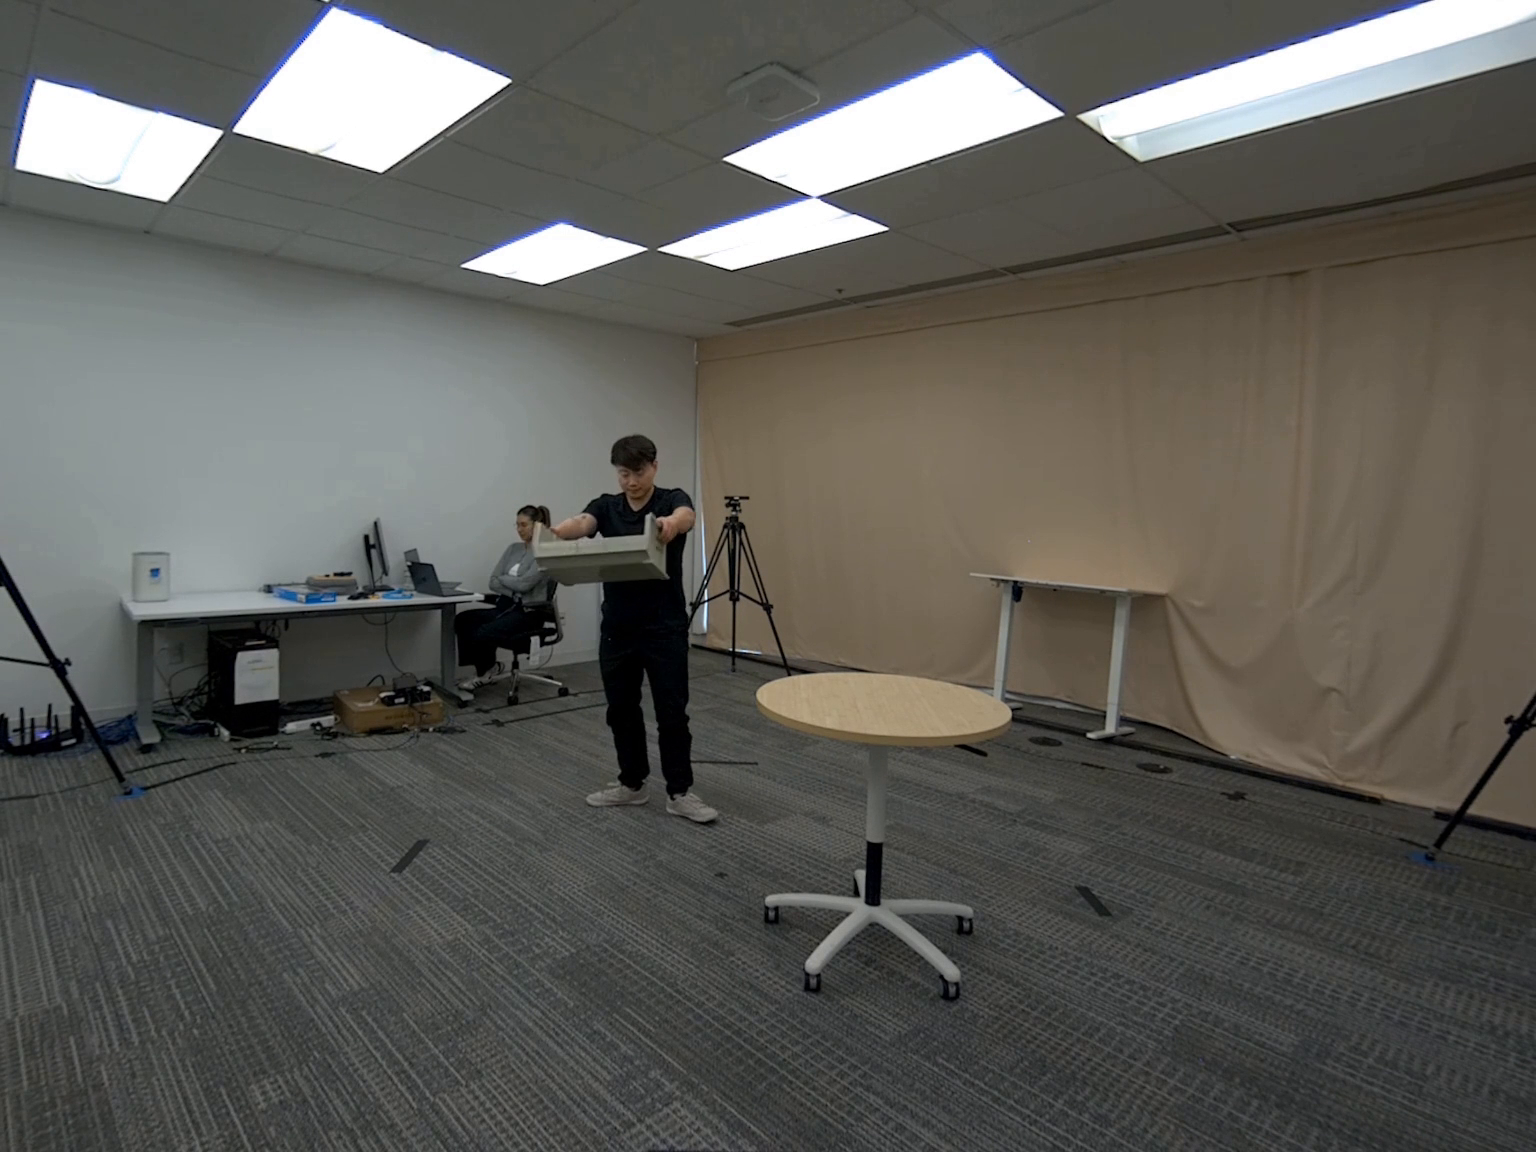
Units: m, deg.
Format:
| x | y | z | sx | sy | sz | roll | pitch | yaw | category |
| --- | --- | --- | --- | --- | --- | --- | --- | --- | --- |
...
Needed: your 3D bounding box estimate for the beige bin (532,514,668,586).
| x | y | z | sx | sy | sz | roll | pitch | yaw | category |
| --- | --- | --- | --- | --- | --- | --- | --- | --- | --- |
| -0.614 | -0.099 | 3.103 | 0.424 | 0.191 | 0.372 | -2 | -12 | 6 | beige bin |
